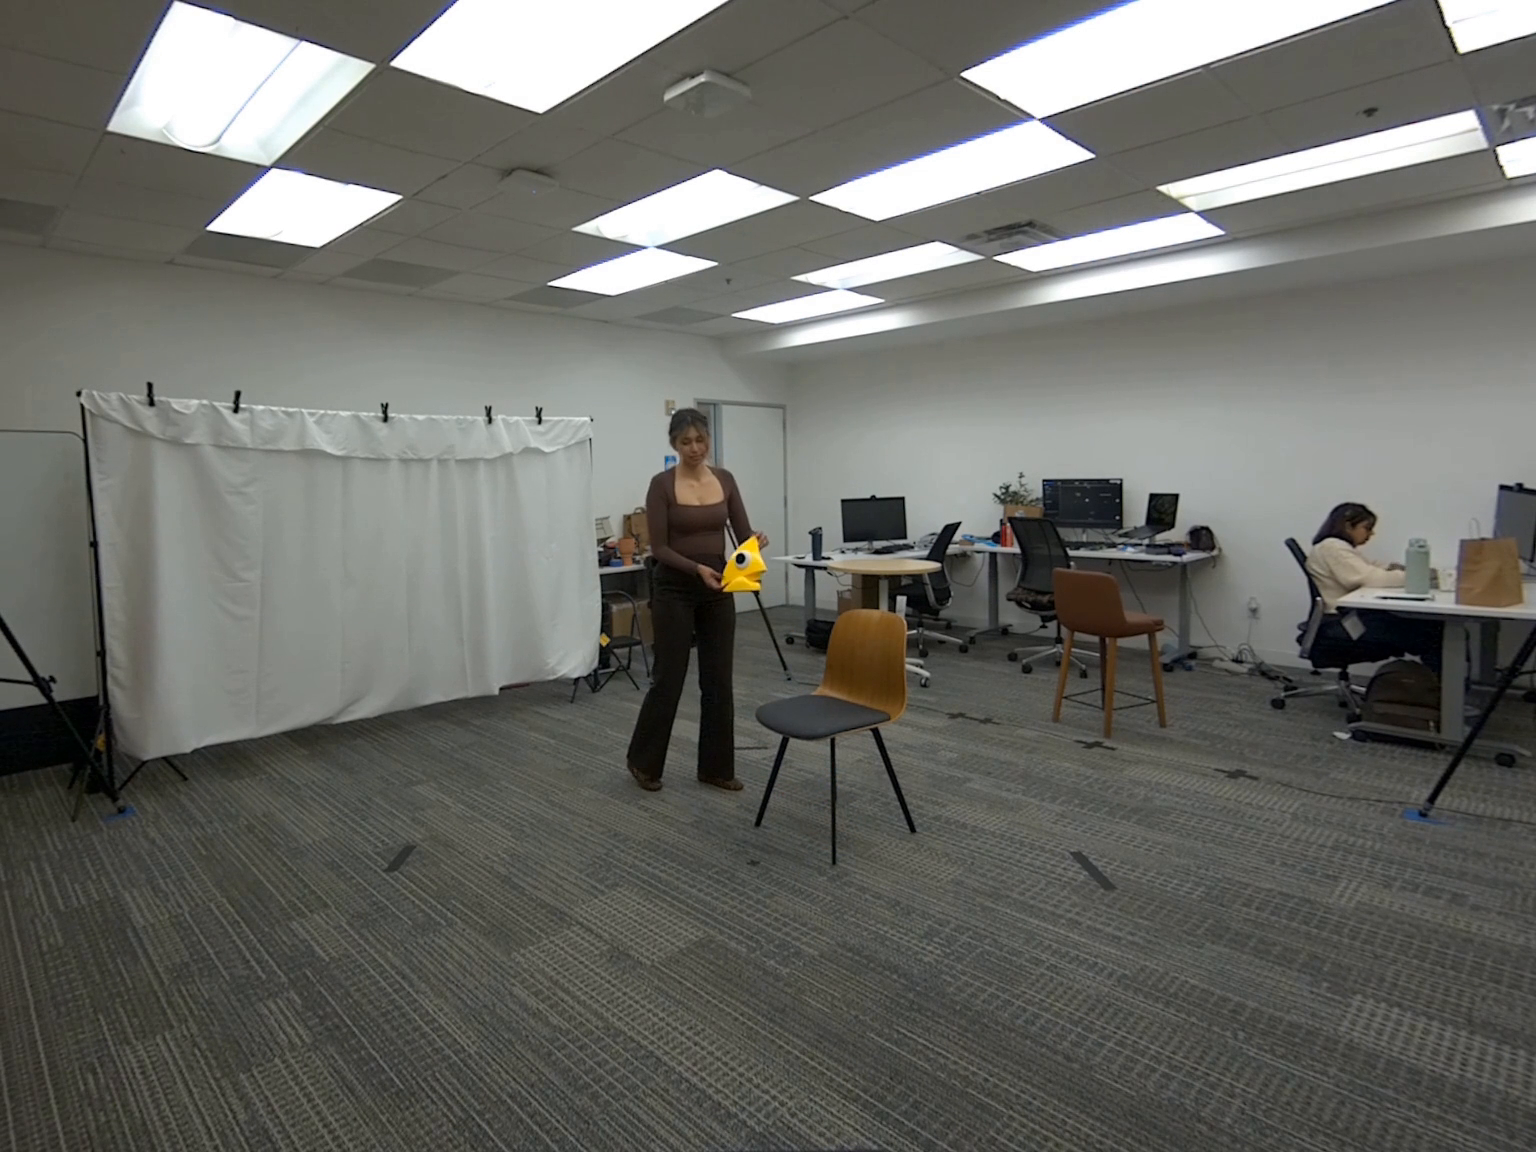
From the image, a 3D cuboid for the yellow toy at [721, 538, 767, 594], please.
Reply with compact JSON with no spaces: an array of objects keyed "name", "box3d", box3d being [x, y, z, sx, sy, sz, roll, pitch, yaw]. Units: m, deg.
[{"name":"yellow toy","box3d":[-0.111,-0.049,3.574,0.193,0.232,0.204,-2,-4,-2]}]
